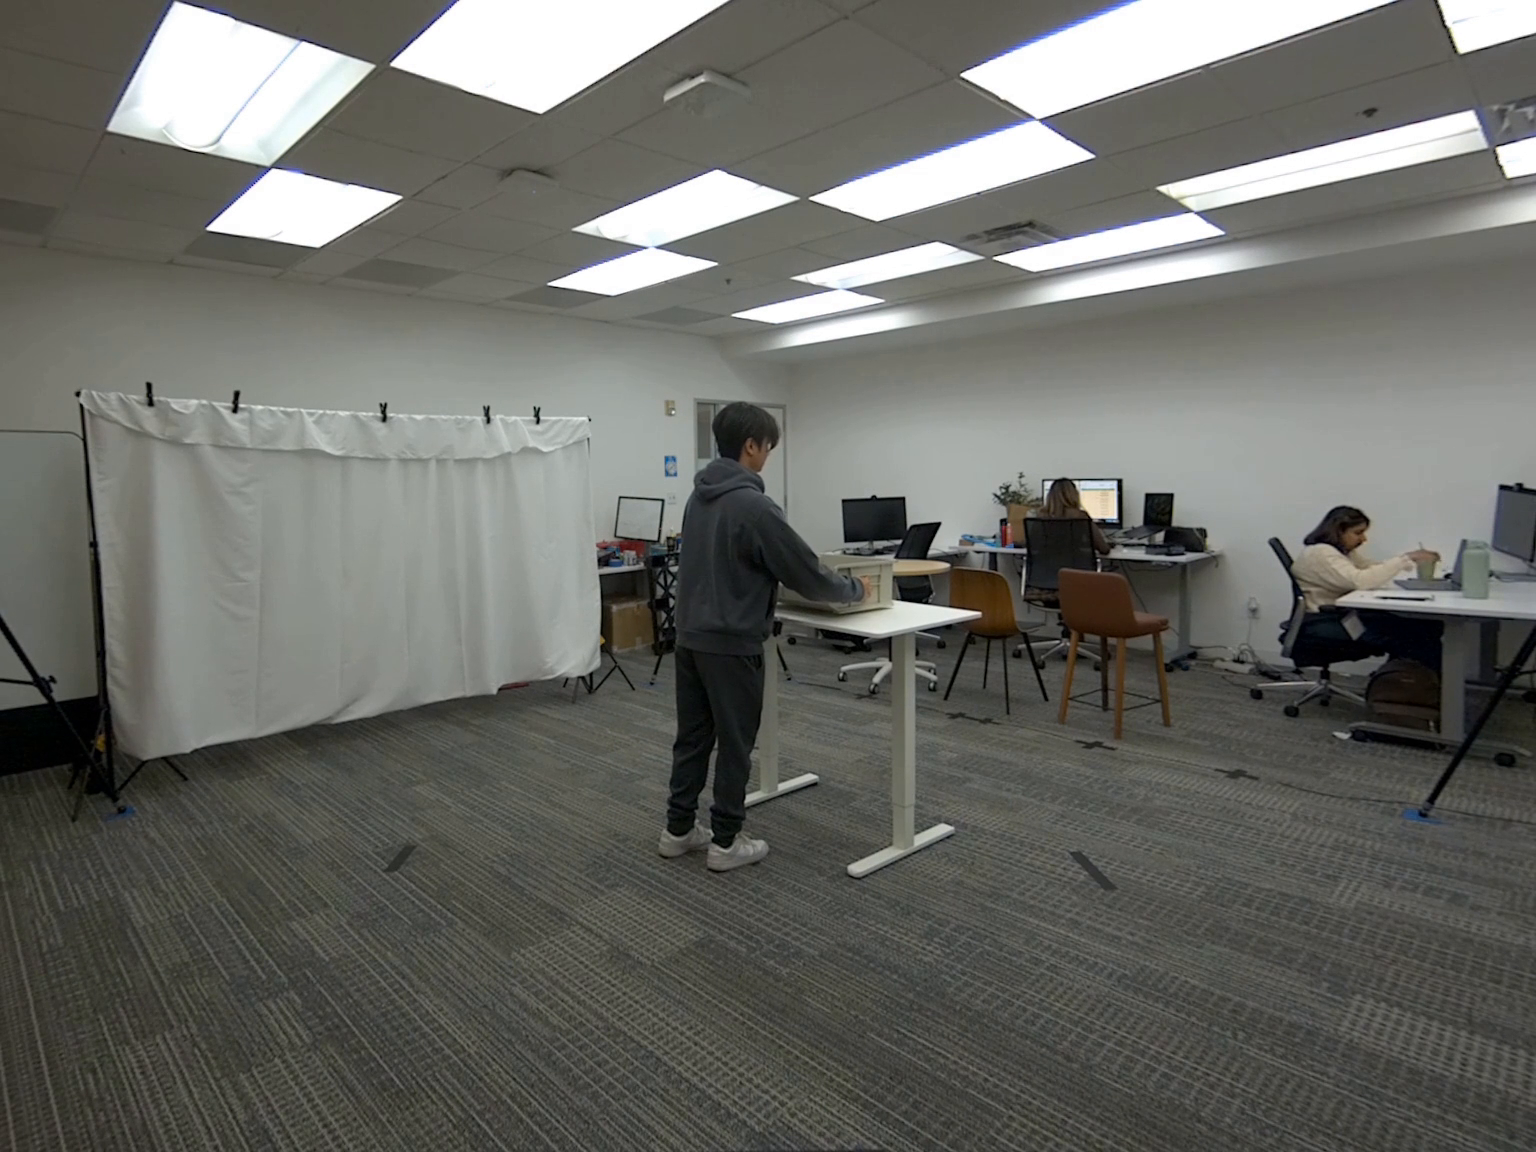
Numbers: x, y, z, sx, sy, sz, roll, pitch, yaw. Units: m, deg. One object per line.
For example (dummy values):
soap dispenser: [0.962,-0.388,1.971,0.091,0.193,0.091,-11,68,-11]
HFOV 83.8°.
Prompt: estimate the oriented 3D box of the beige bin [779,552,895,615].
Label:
beige bin: [0.236,0.028,3.370,0.367,0.188,0.435,-4,6,-39]
